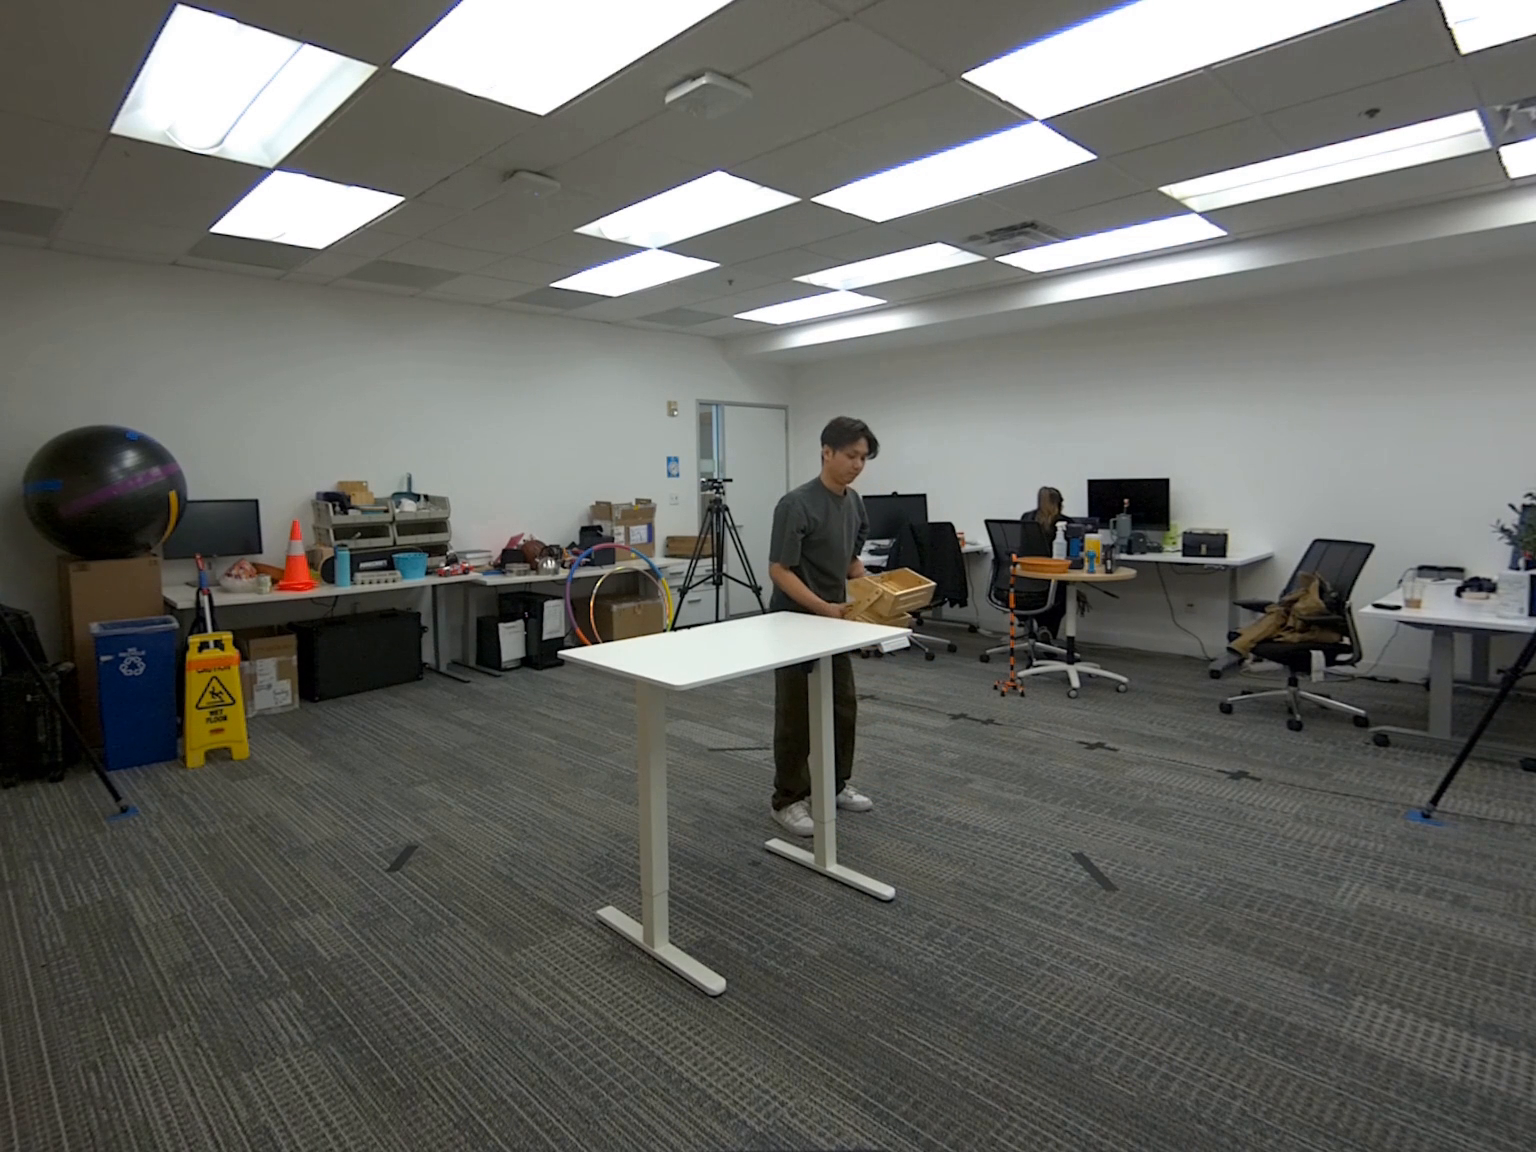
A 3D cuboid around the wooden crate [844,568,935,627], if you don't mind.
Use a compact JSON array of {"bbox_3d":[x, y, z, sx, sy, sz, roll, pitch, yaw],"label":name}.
[{"bbox_3d":[0.415,0.098,3.314,0.313,0.270,0.316,30,25,35],"label":"wooden crate"}]
